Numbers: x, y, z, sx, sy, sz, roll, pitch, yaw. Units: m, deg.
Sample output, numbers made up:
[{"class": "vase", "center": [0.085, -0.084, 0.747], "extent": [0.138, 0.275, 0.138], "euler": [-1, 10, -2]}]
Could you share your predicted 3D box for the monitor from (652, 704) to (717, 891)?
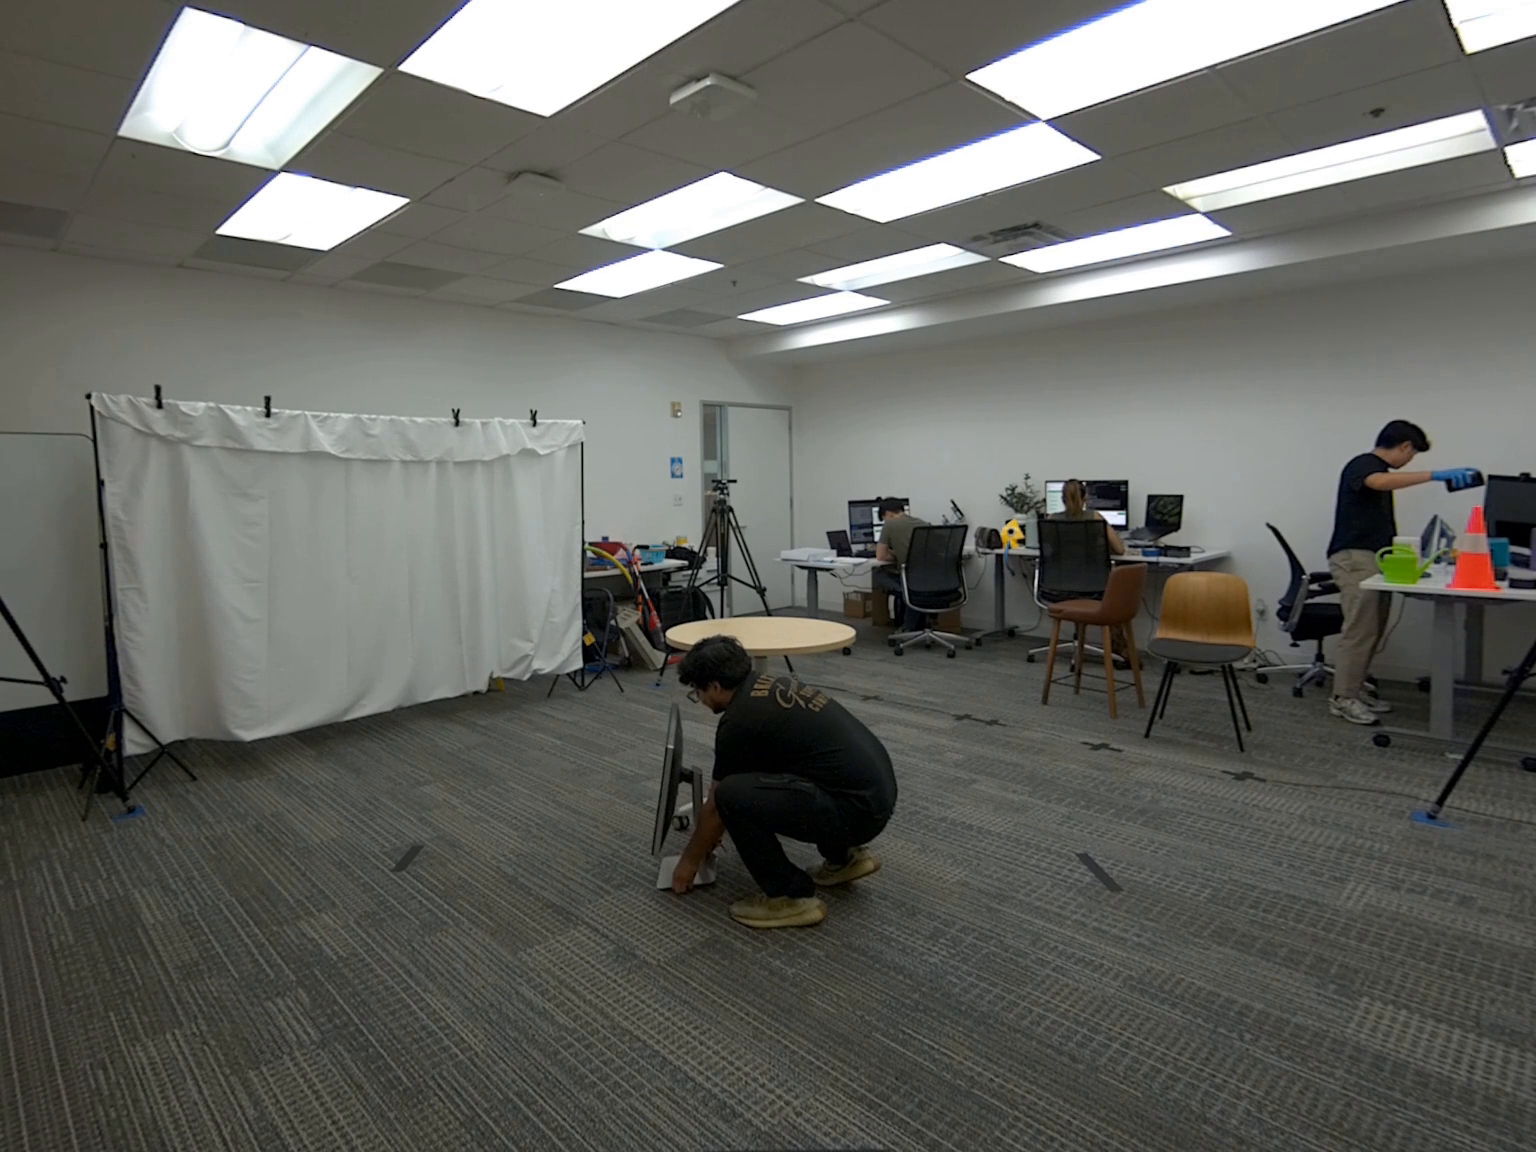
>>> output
[{"class": "monitor", "center": [-0.283, 0.783, 3.019], "extent": [0.209, 0.552, 0.569], "euler": [1, 4, -5]}]
